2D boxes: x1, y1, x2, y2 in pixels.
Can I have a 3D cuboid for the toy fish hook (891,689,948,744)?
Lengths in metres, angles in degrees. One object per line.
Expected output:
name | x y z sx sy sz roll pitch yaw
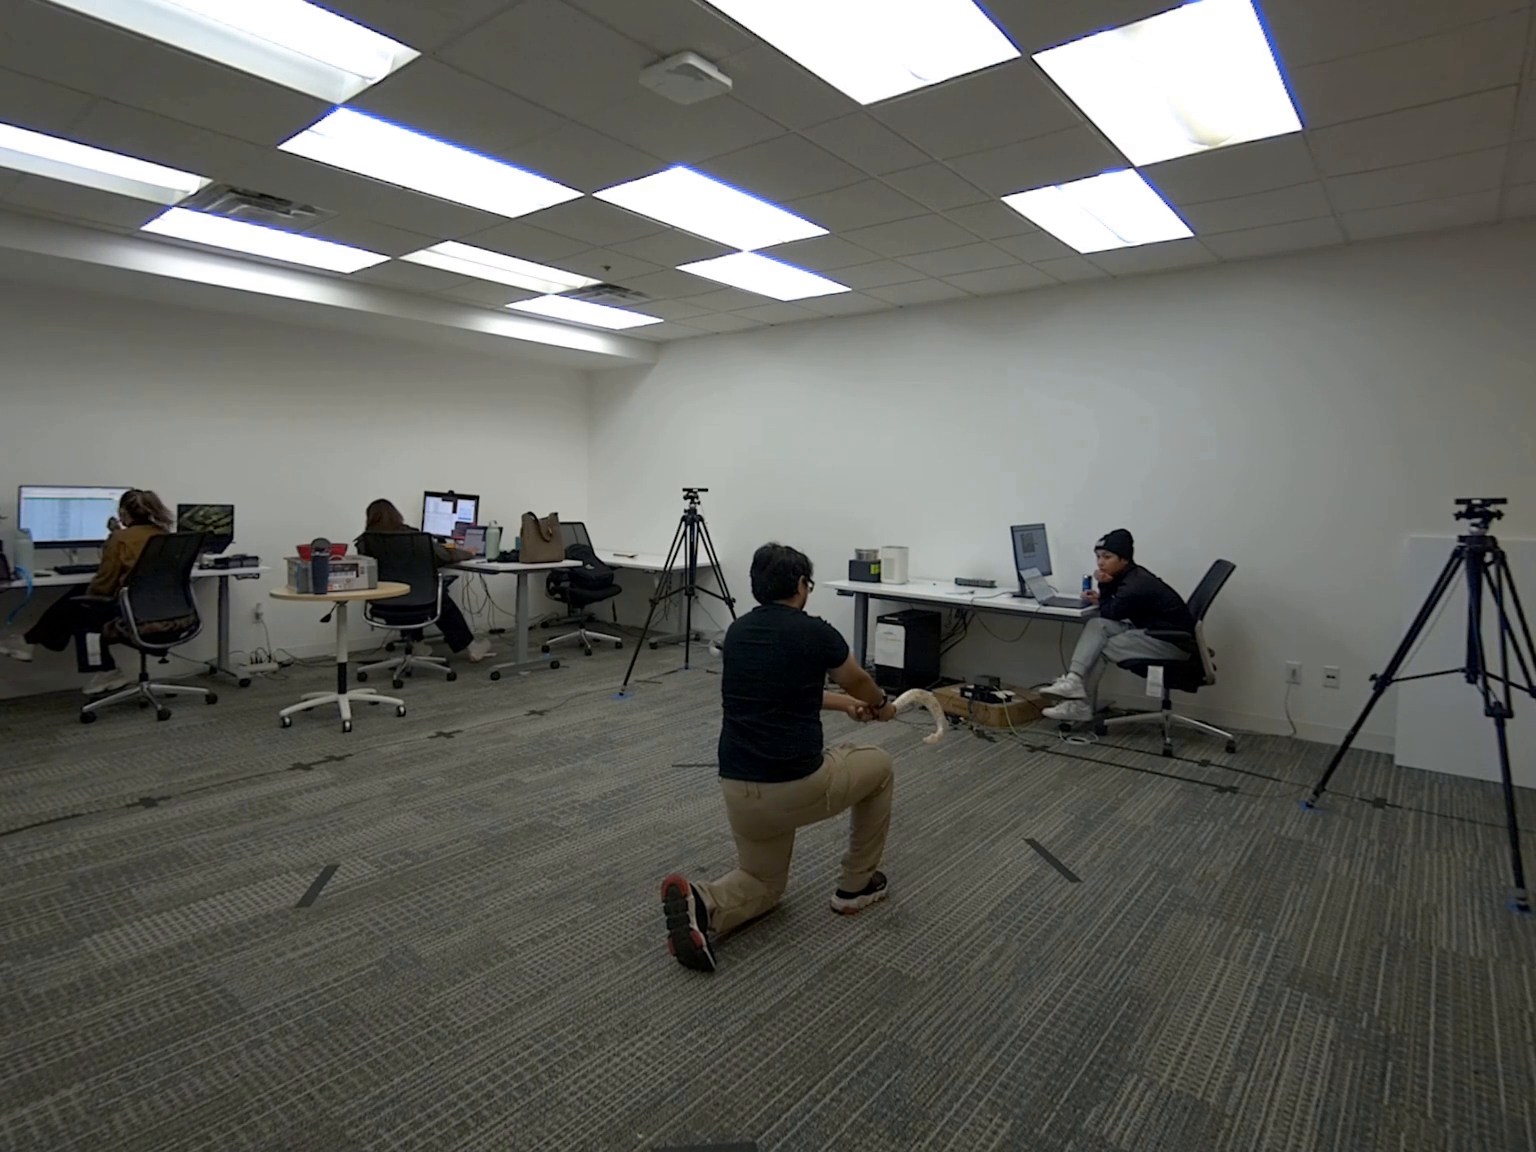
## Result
toy fish hook | 0.534 0.550 3.269 0.491 0.232 0.048 -3 -34 -43
